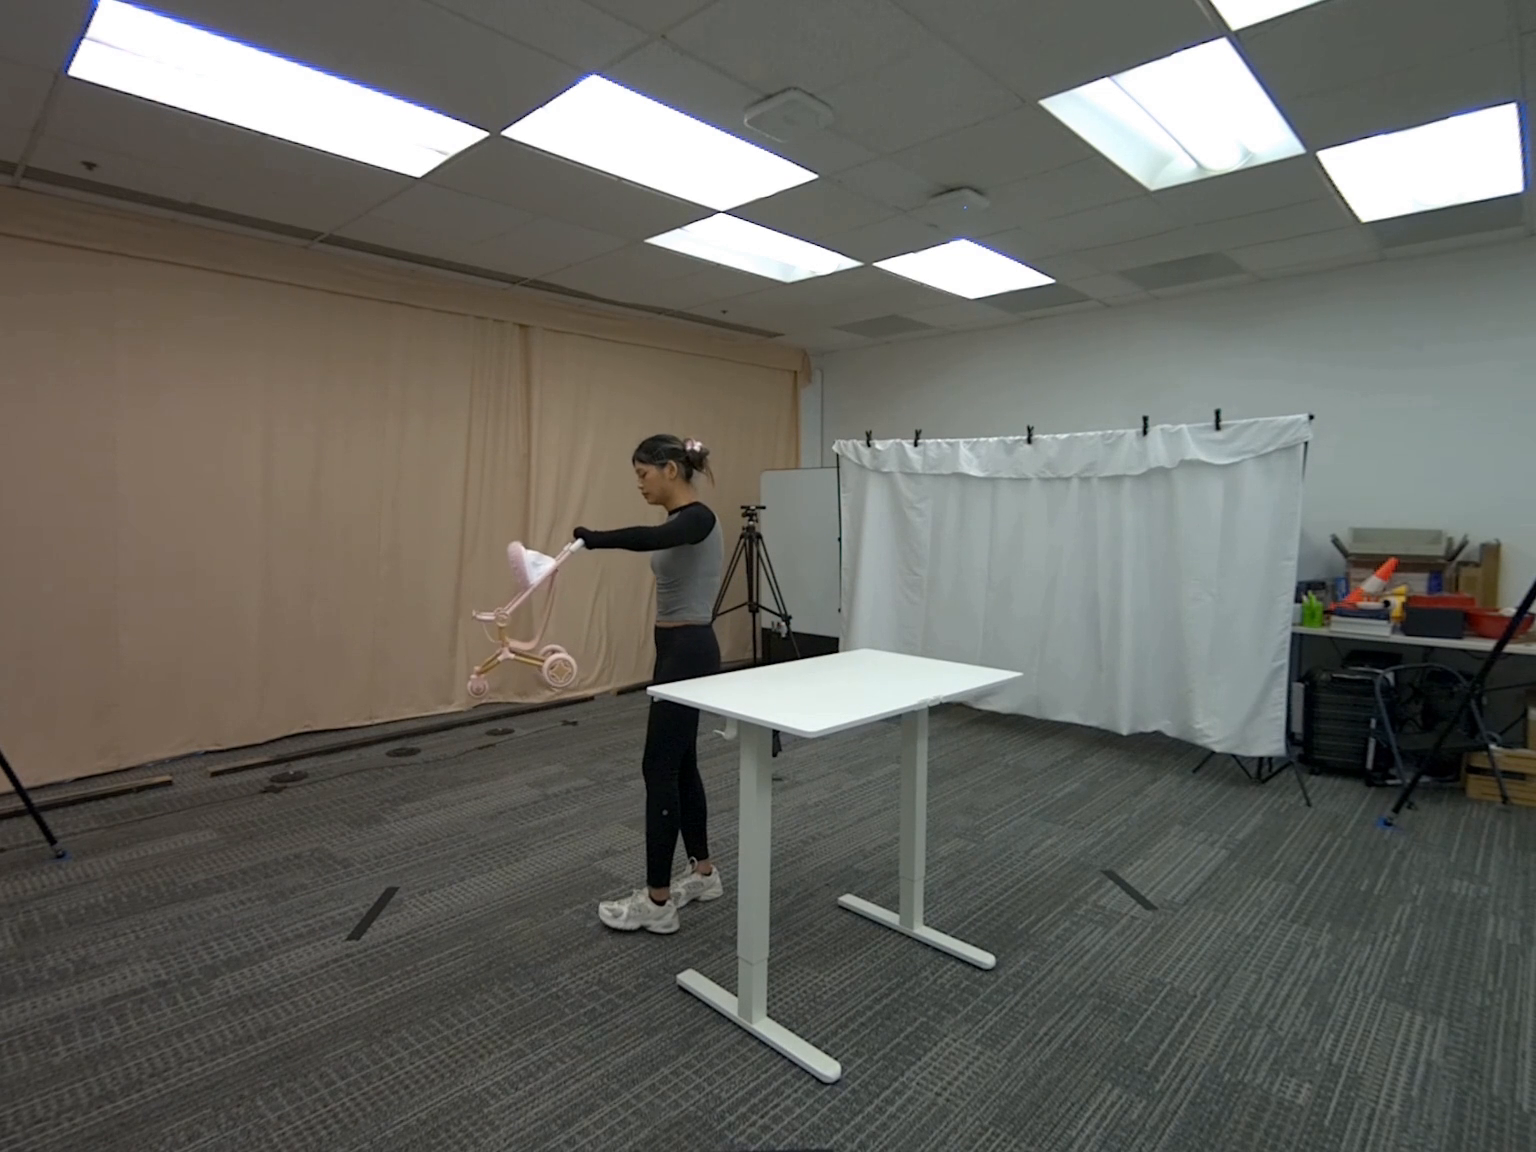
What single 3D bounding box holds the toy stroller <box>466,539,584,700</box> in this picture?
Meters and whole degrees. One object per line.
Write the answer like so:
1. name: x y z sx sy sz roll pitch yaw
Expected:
1. toy stroller: -0.785 0.134 2.699 0.336 0.535 0.285 5 -1 -14
